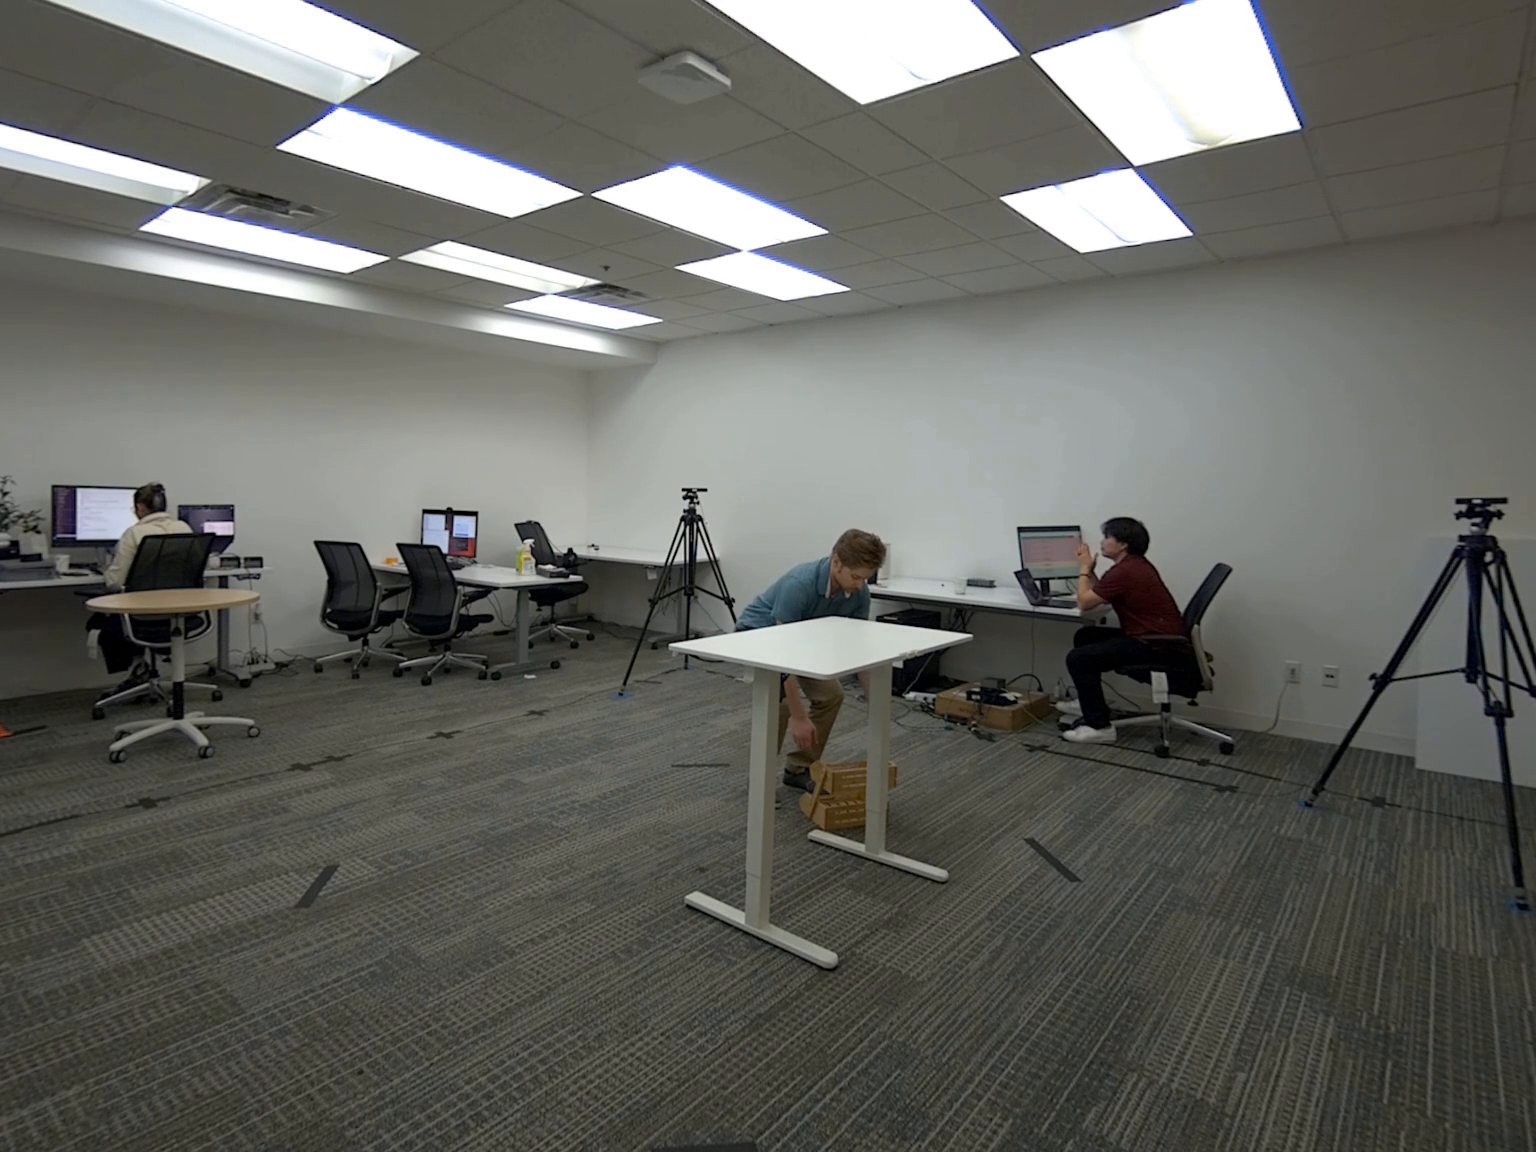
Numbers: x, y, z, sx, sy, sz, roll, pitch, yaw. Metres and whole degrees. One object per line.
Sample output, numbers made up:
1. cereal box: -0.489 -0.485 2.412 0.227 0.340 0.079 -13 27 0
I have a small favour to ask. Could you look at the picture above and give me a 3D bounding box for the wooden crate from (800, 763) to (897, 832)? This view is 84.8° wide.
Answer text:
1. wooden crate: 0.328 0.894 3.634 0.317 0.272 0.310 0 5 -22
